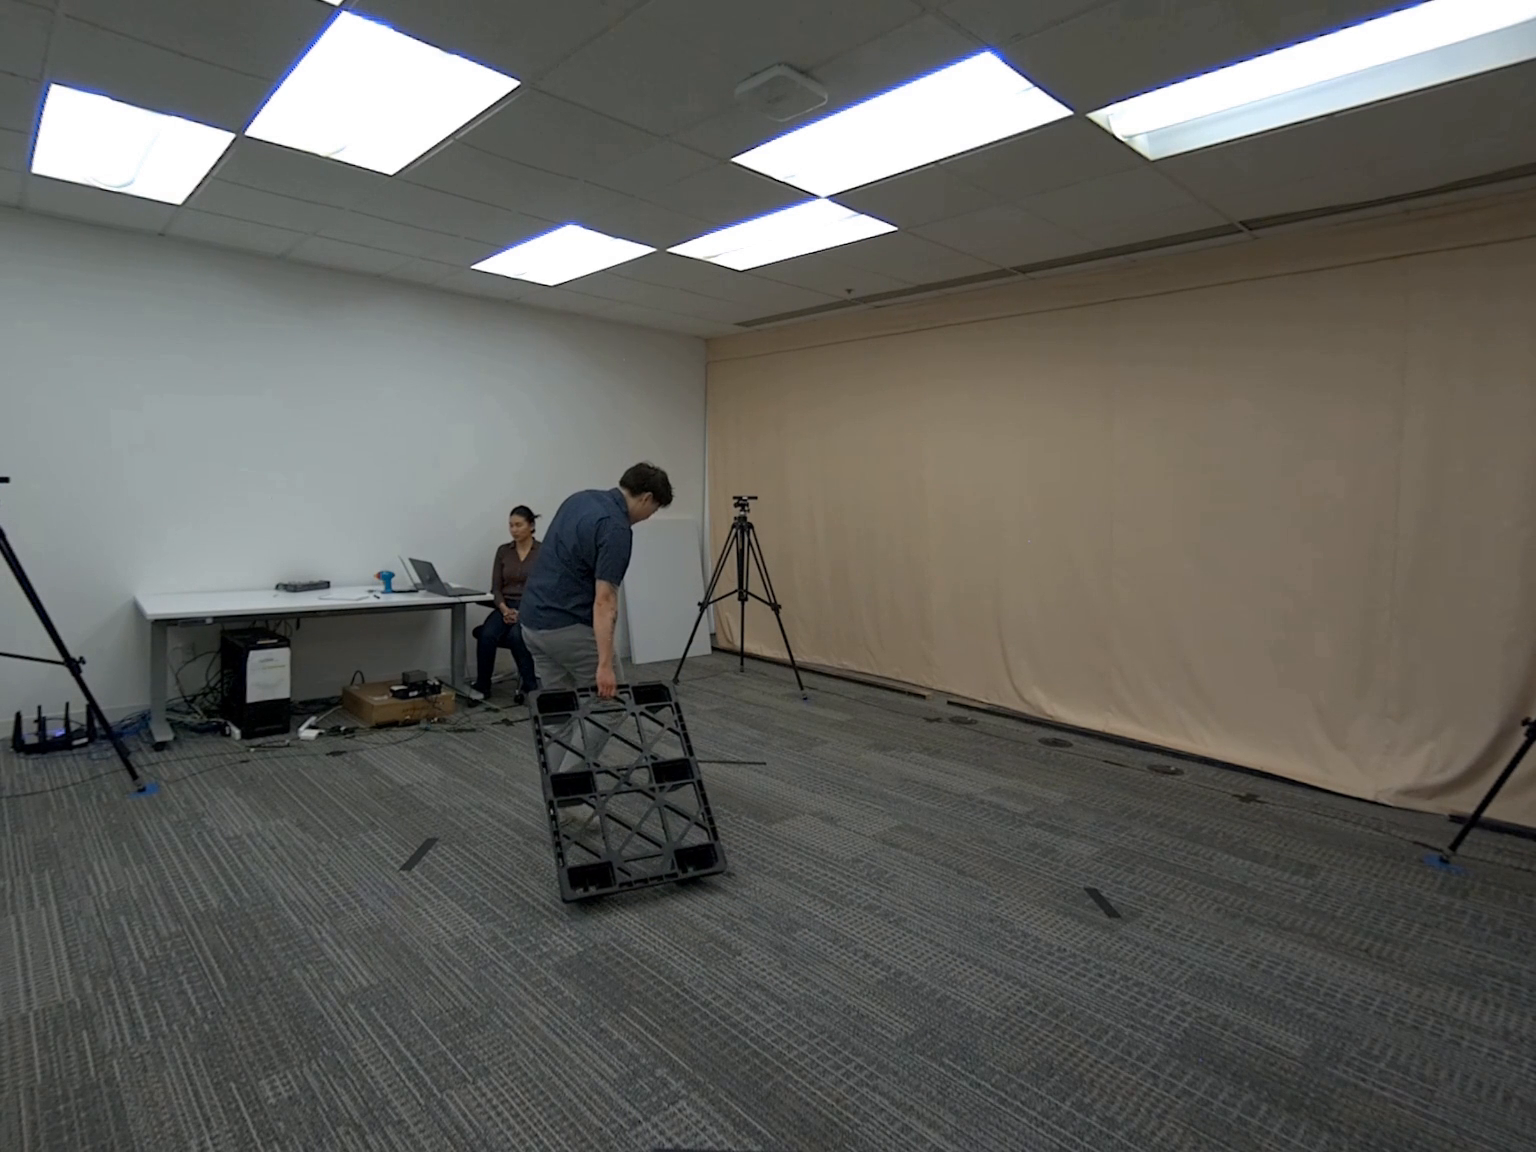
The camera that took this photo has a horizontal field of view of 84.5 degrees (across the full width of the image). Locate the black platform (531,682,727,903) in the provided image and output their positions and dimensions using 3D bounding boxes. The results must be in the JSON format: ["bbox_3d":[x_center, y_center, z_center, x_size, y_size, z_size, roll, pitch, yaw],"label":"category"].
[{"bbox_3d":[-0.561,0.785,3.142,0.594,0.828,0.142,-2,-40,-26],"label":"black platform"}]
